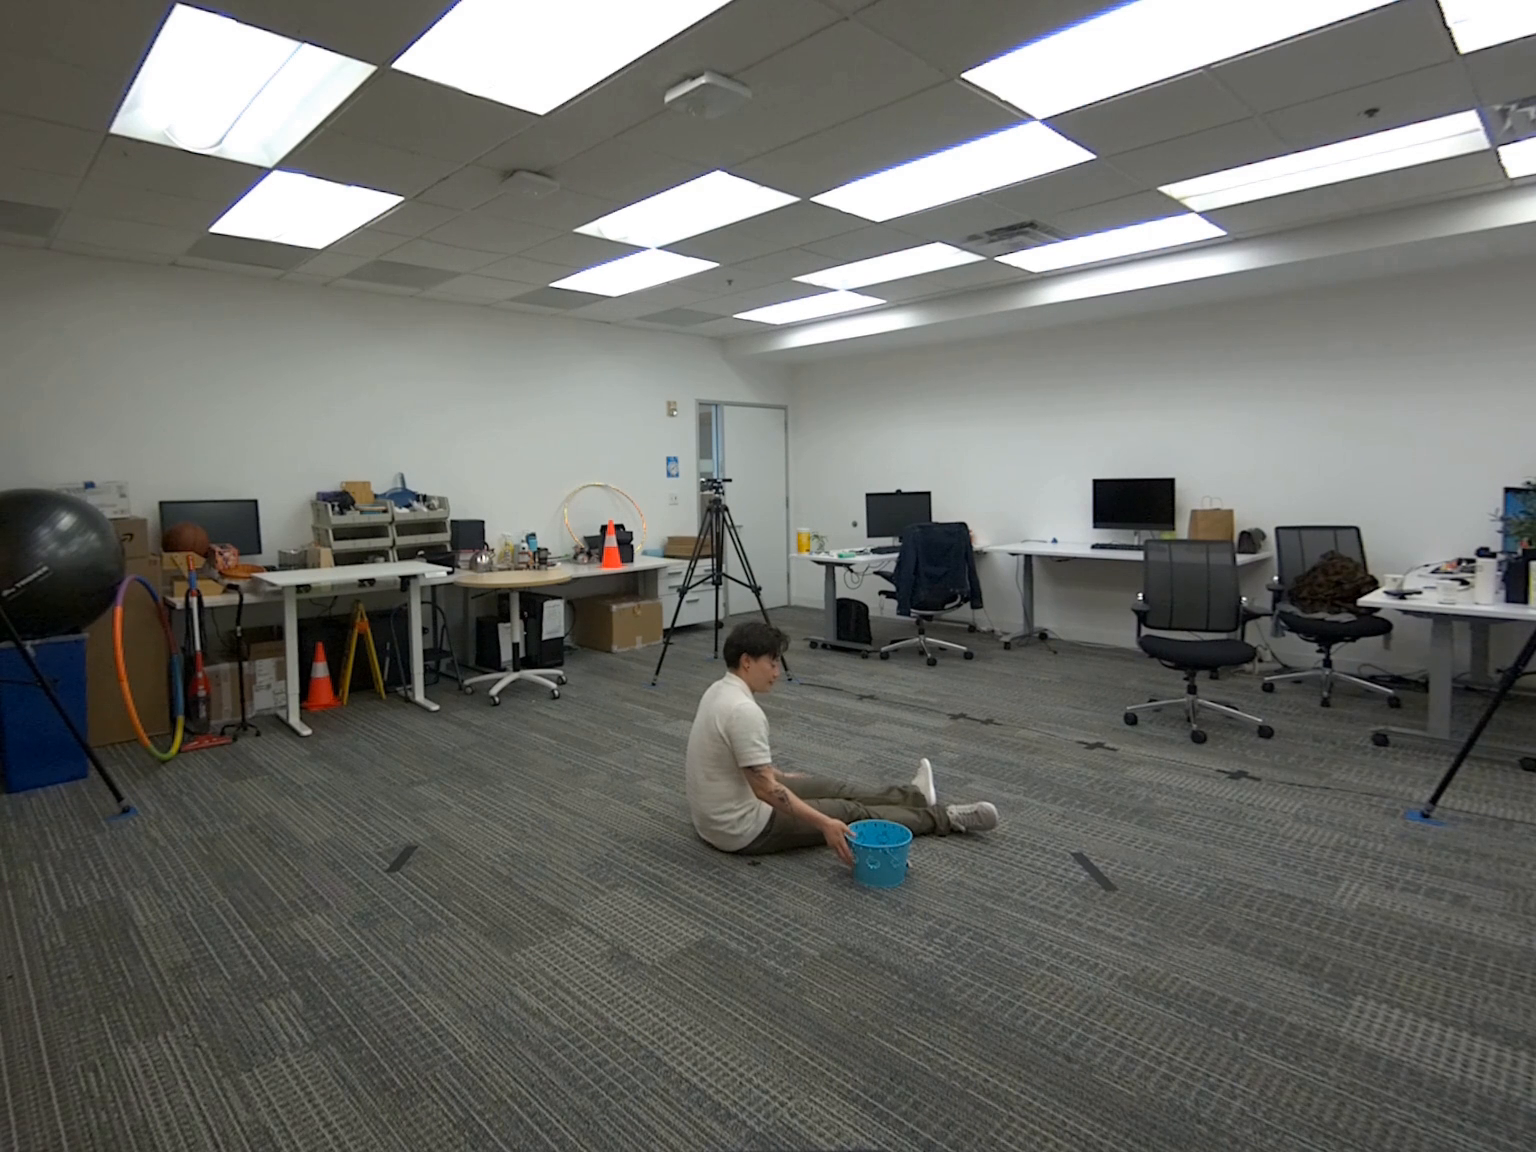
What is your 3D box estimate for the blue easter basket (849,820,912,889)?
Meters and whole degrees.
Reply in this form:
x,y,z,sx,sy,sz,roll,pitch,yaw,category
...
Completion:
x,y,z,sx,sy,sz,roll,pitch,yaw,category
0.397,0.975,2.984,0.243,0.155,0.245,-3,7,-1,blue easter basket
